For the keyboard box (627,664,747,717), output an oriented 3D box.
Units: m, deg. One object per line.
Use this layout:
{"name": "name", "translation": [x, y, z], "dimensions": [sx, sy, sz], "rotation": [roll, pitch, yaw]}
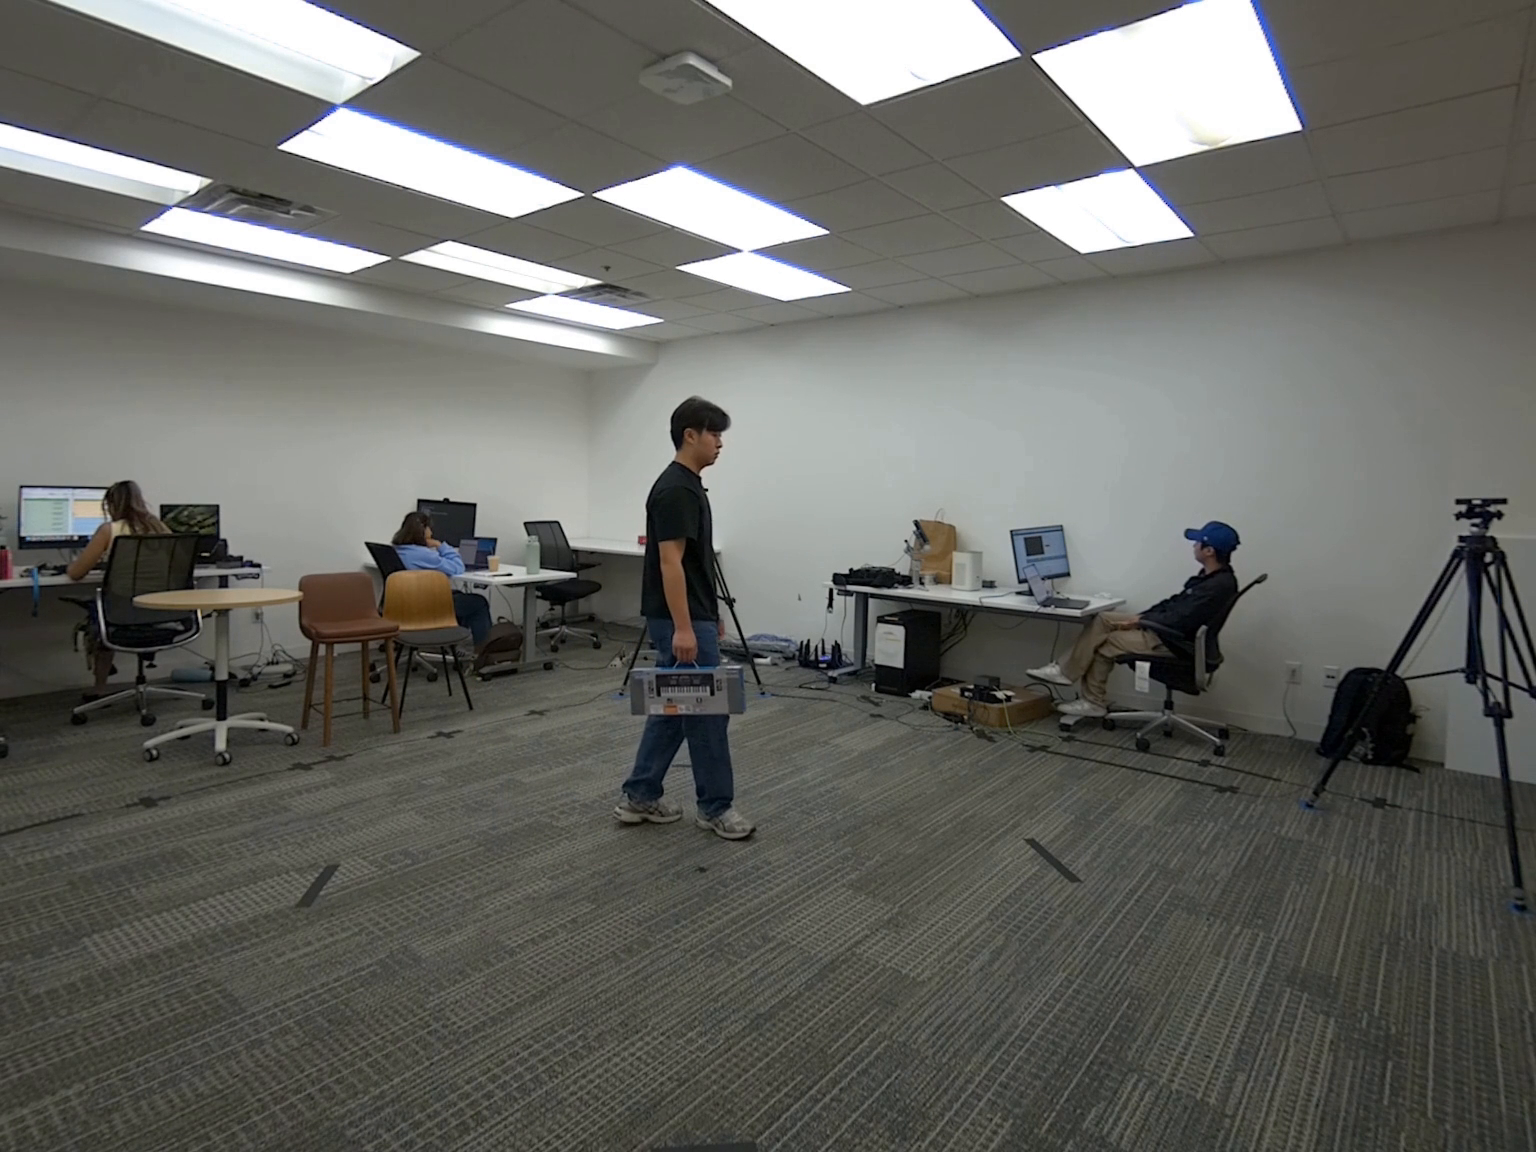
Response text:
{"name": "keyboard box", "translation": [-0.315, 0.431, 3.220], "dimensions": [0.442, 0.176, 0.058], "rotation": [-3, 1, 11]}
